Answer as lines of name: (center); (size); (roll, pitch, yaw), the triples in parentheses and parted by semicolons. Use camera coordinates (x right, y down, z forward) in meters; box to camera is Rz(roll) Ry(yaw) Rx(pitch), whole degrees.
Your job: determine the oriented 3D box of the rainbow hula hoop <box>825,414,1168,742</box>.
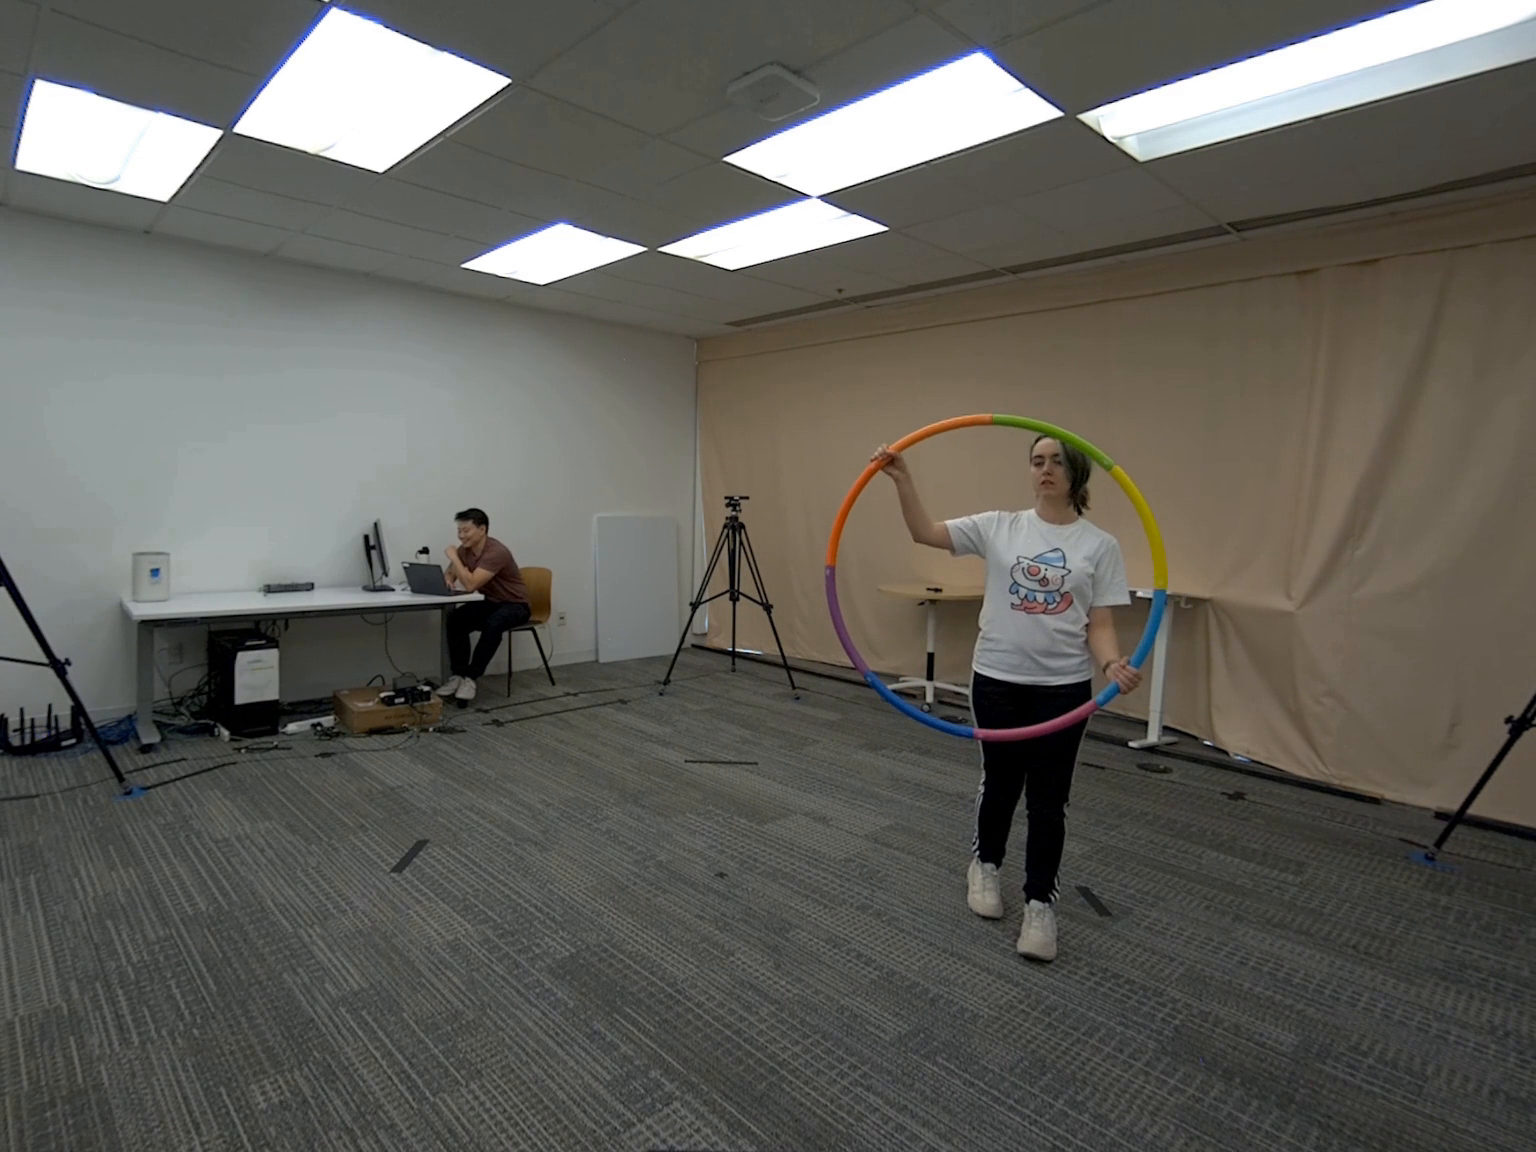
rainbow hula hoop: (0.635, 0.005, 2.543); (0.997, 0.979, 0.035); (3, -1, 25)
